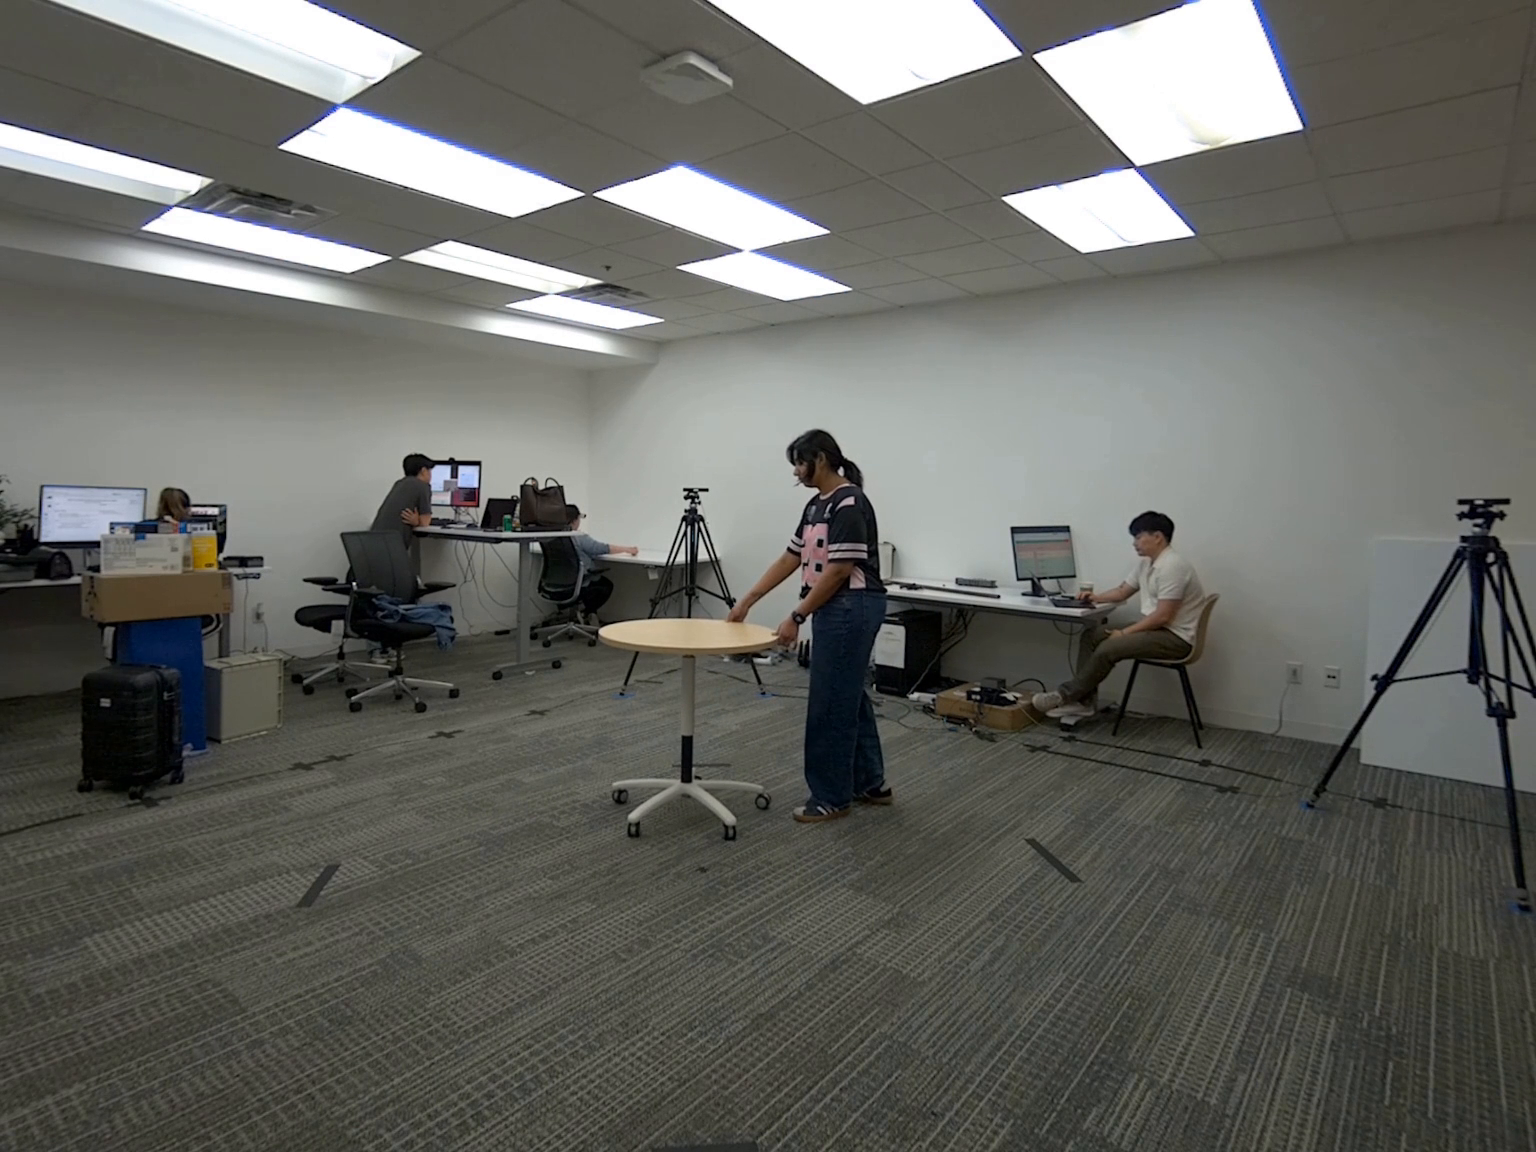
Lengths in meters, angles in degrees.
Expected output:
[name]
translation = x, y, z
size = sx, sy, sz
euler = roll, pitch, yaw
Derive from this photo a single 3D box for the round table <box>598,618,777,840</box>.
[round table]
translation = -0.366, 0.625, 3.619
size = 0.784, 0.784, 0.788
euler = 2, 3, -2
